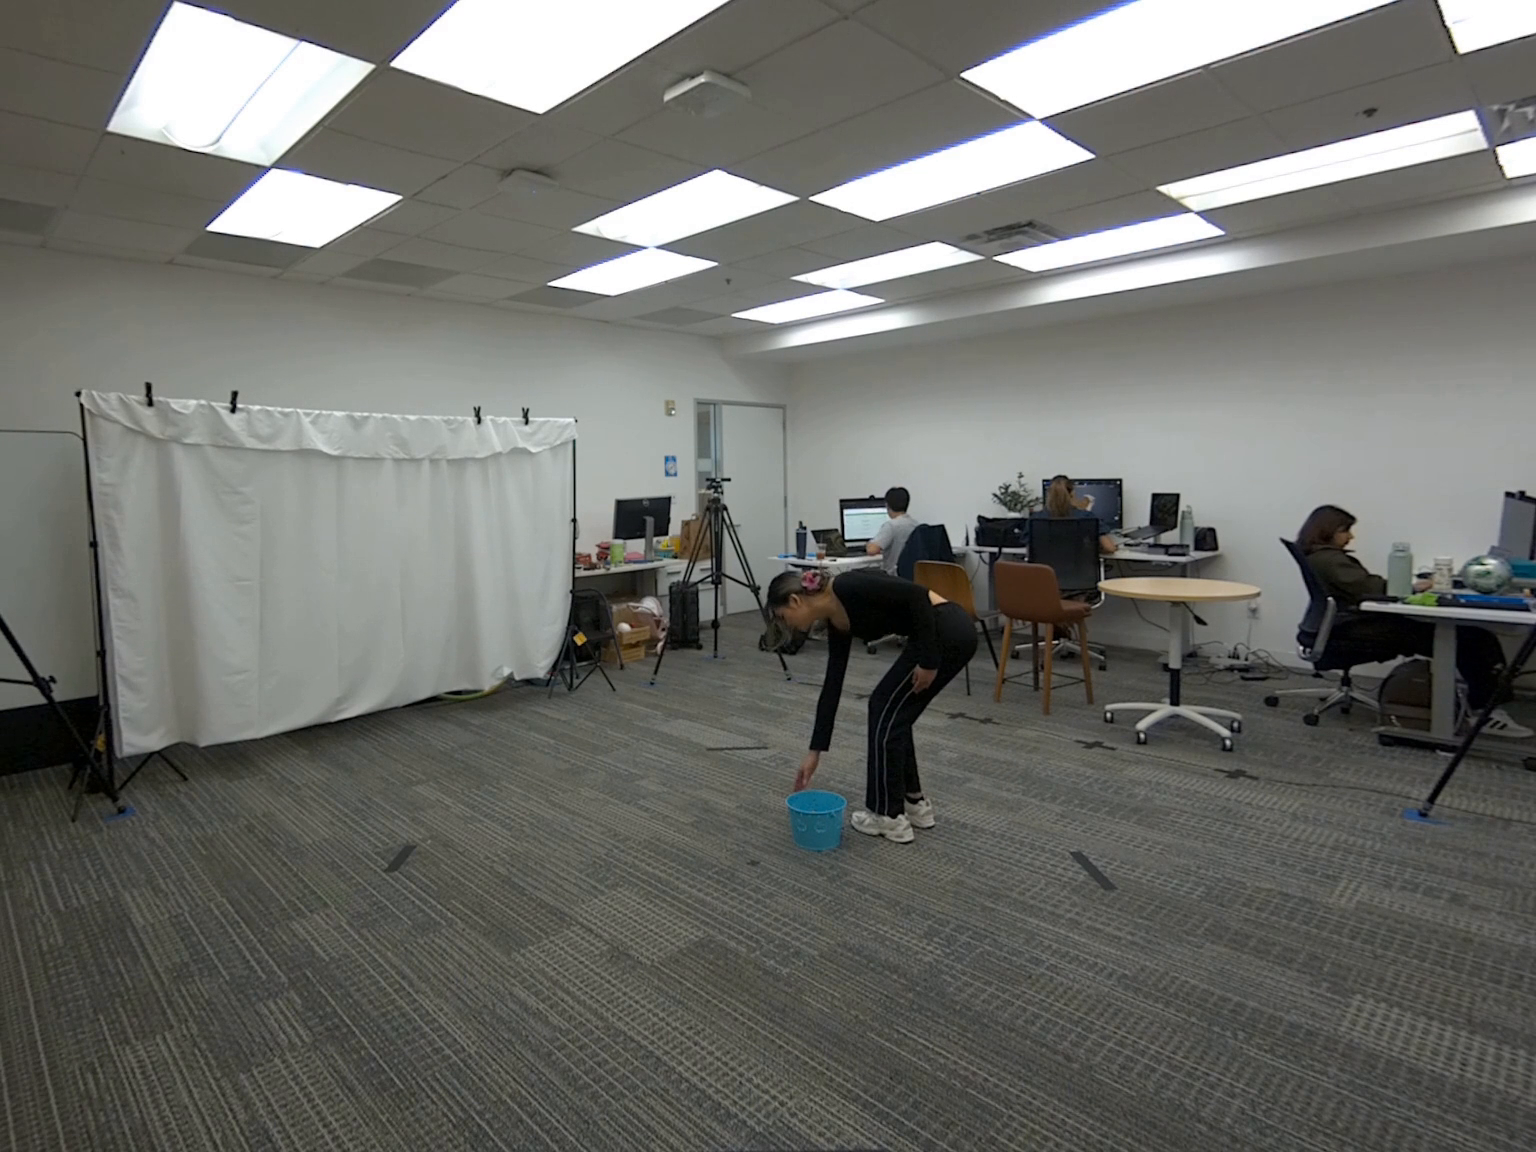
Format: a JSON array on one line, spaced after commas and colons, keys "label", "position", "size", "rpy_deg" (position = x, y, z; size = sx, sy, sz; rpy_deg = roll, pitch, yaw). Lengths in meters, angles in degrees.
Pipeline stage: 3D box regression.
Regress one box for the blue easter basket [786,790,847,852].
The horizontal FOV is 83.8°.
[{"label": "blue easter basket", "position": [0.195, 0.940, 3.290], "size": [0.243, 0.155, 0.245], "rpy_deg": [-1, 6, -2]}]
